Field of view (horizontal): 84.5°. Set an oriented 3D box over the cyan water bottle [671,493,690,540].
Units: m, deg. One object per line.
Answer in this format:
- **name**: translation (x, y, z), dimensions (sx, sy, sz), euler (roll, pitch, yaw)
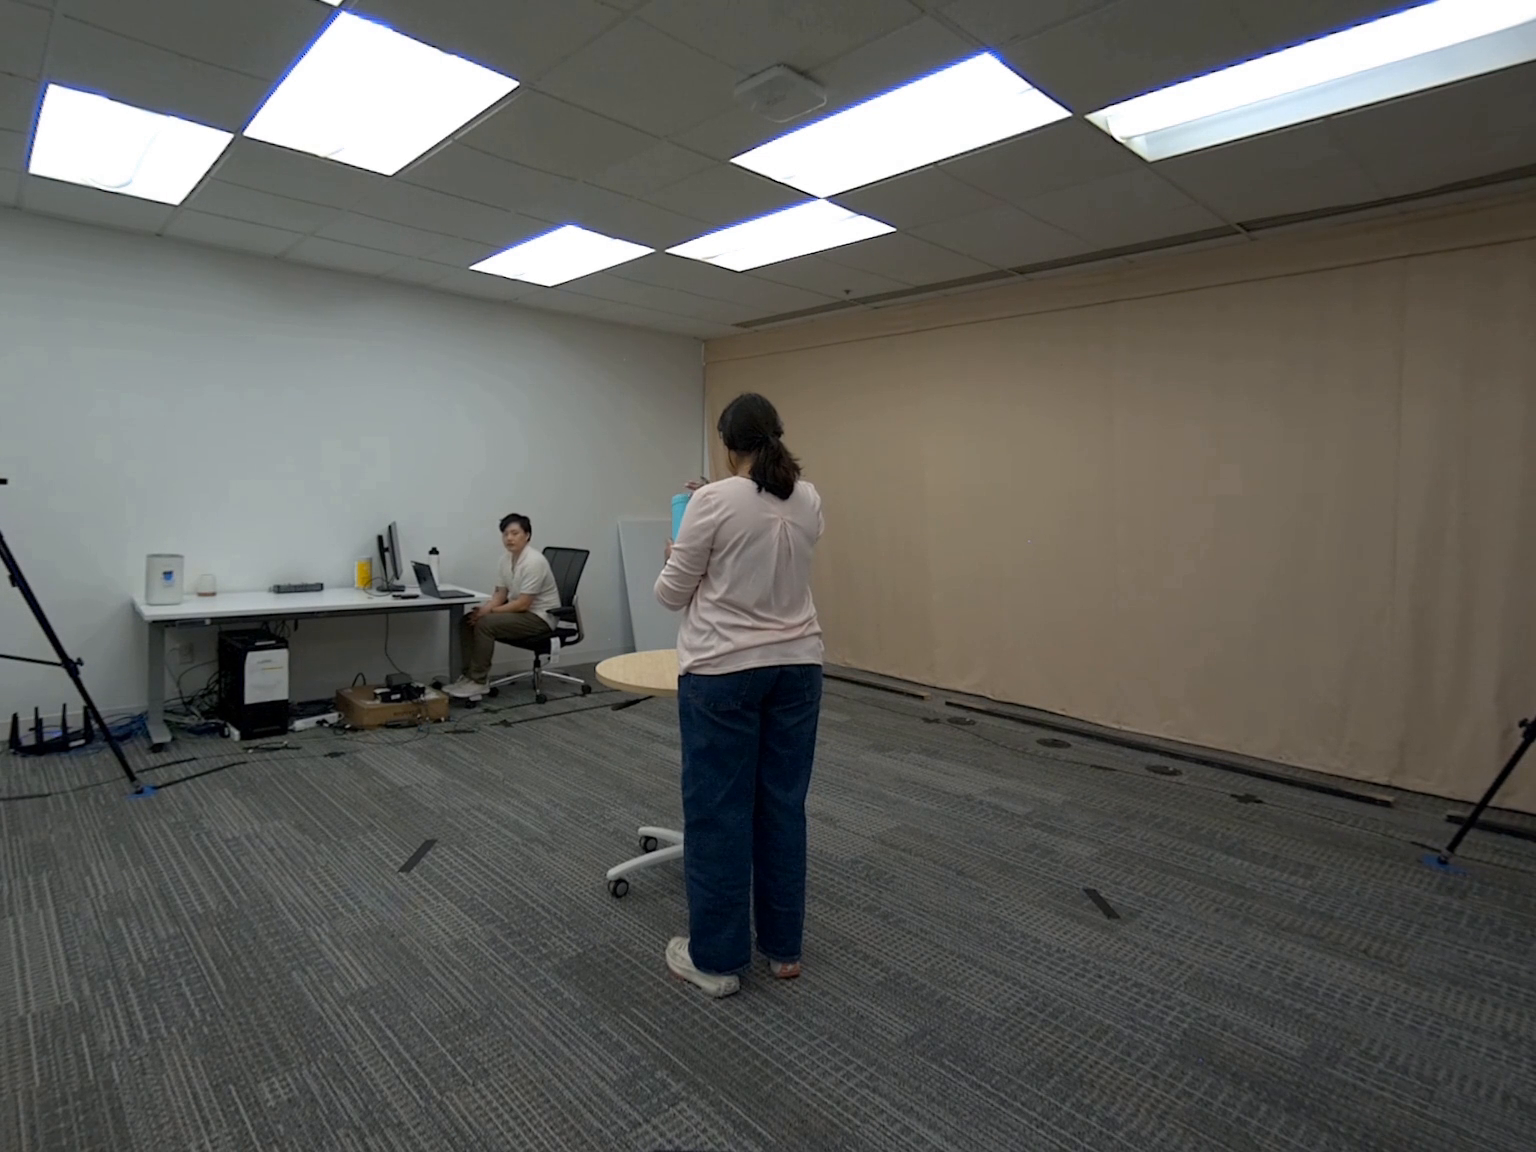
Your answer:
- **cyan water bottle**: translation (-0.271, -0.117, 2.739), dimensions (0.092, 0.287, 0.091), euler (-6, -18, -3)
